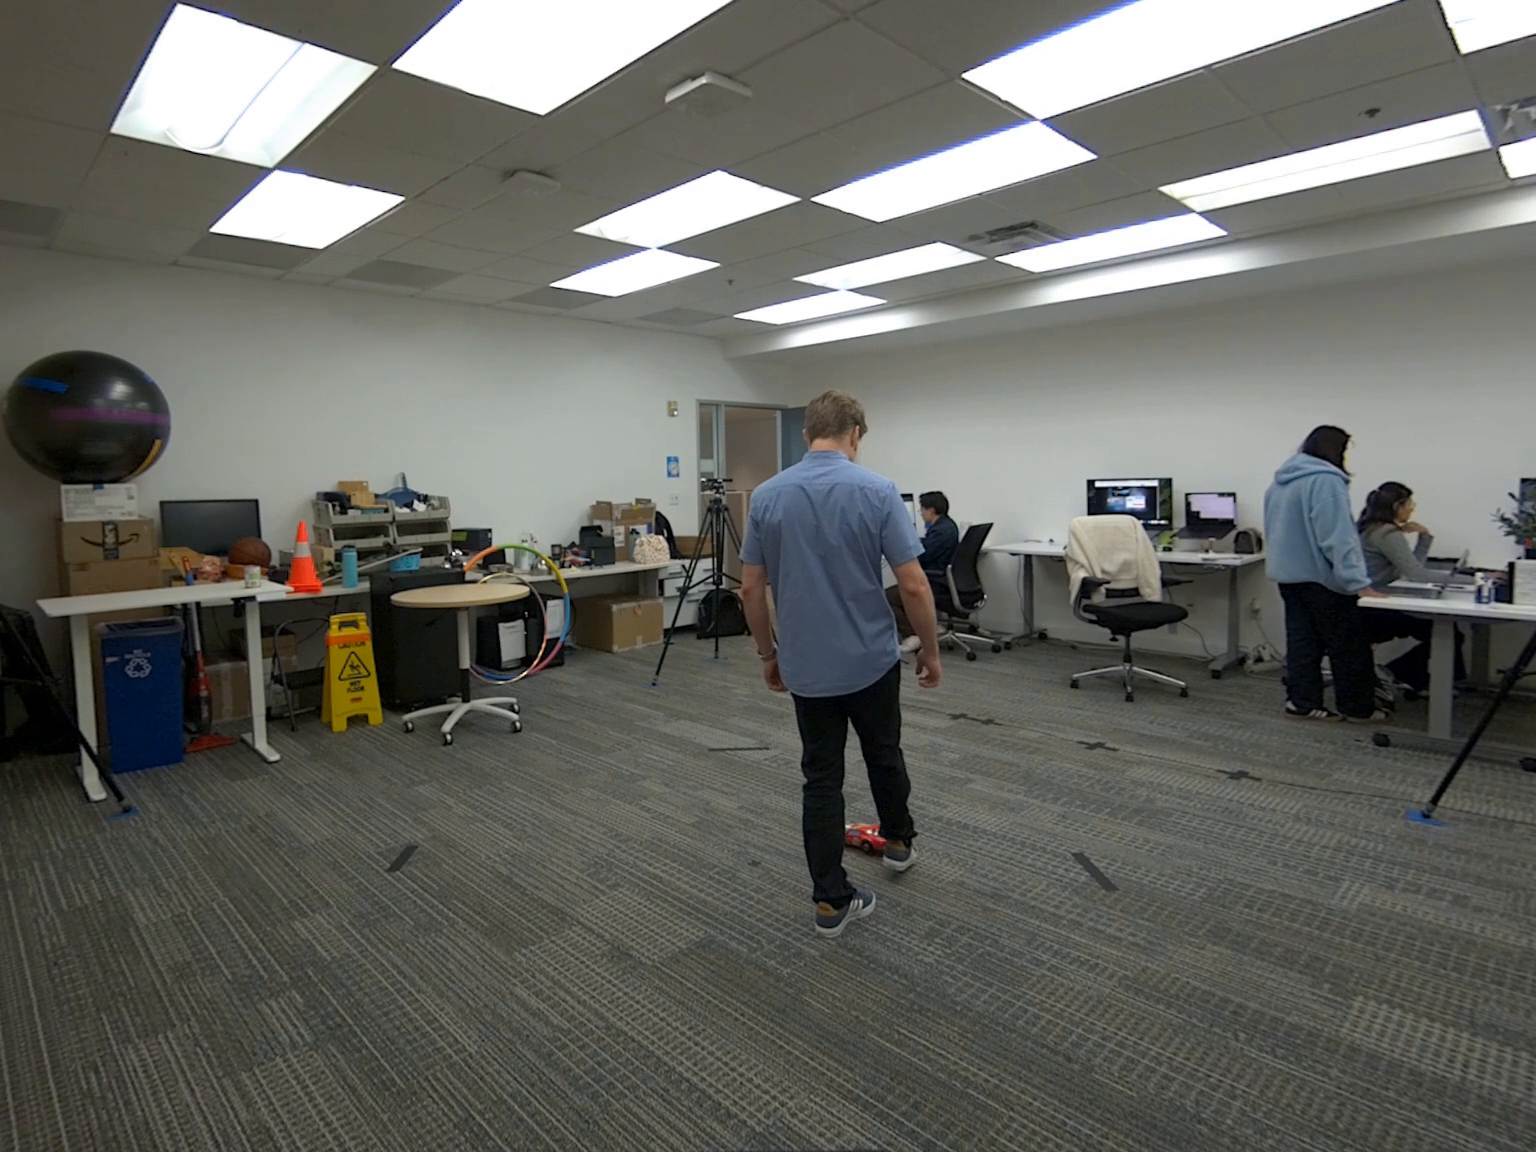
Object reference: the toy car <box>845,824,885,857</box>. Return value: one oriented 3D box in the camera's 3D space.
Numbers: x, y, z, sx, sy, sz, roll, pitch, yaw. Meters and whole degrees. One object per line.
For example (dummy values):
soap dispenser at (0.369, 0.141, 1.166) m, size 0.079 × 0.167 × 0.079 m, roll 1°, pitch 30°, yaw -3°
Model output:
toy car at (0.360, 0.988, 3.230) m, size 0.260 × 0.084 × 0.127 m, roll -14°, pitch -5°, yaw 41°
